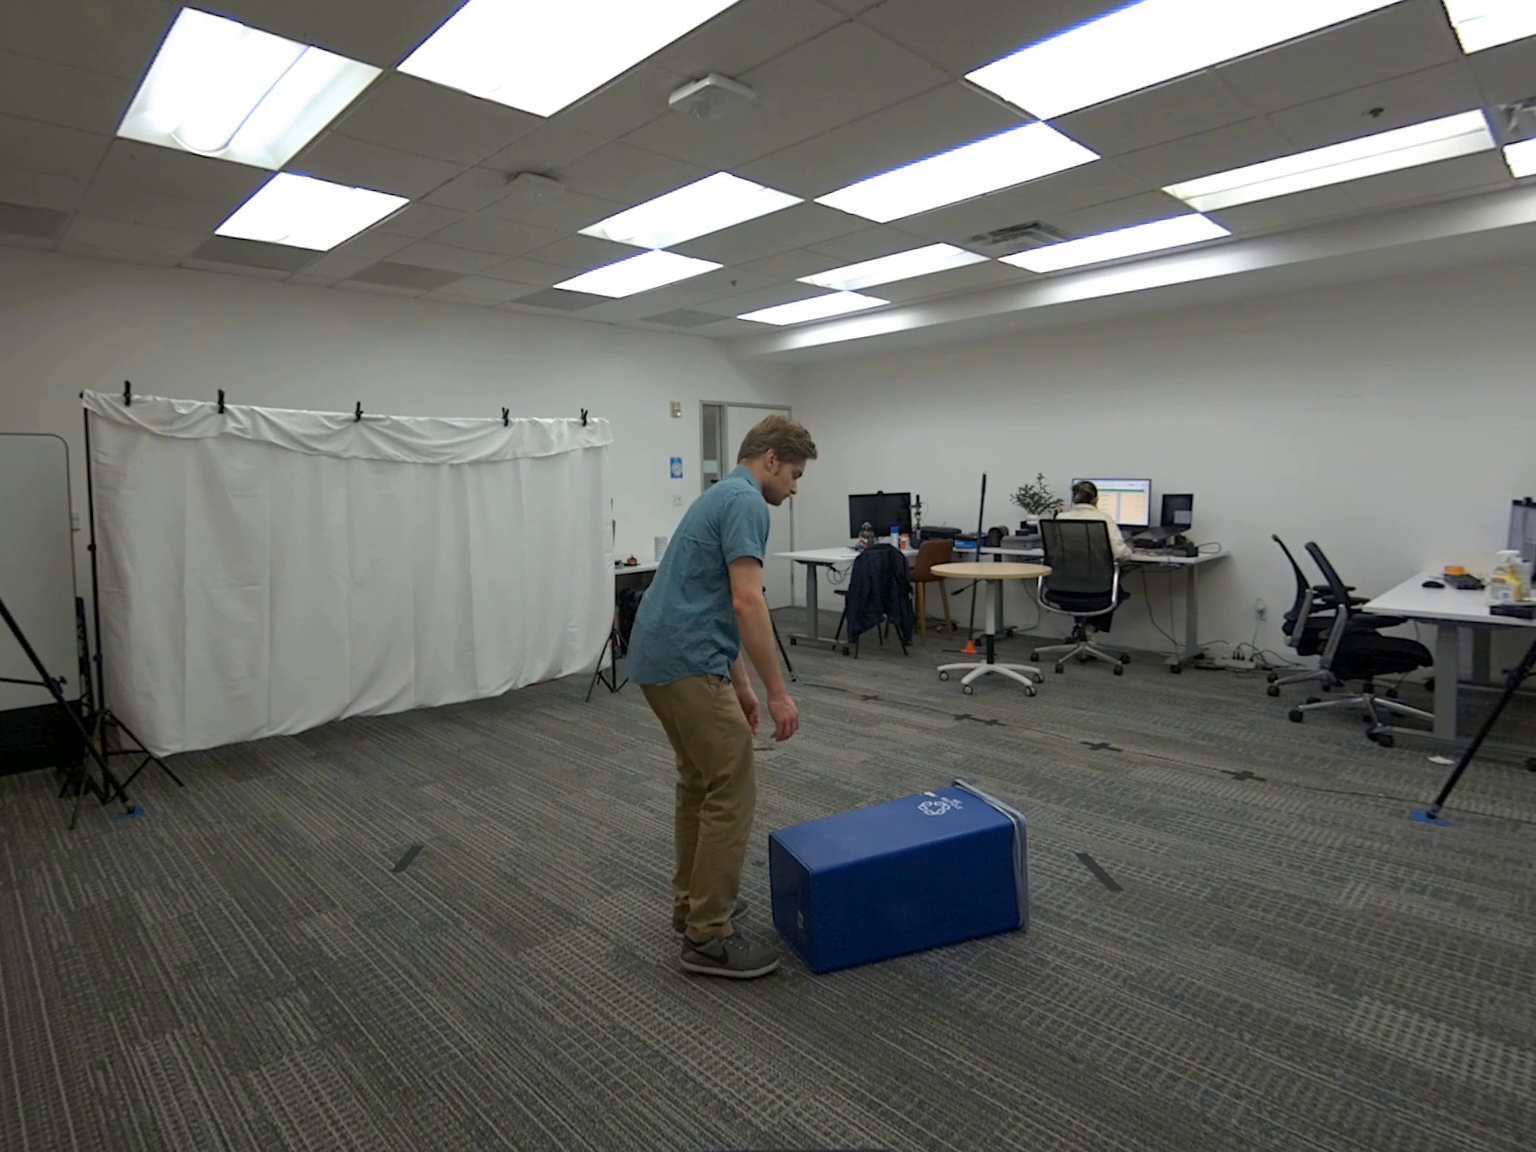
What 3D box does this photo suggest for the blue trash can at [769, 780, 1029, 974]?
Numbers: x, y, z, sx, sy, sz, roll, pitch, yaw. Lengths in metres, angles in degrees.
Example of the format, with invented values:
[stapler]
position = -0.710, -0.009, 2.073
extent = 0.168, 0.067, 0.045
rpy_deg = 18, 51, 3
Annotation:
[blue trash can]
position = 0.399, 0.925, 2.638
extent = 0.701, 0.376, 0.382
rpy_deg = -6, 6, -21
